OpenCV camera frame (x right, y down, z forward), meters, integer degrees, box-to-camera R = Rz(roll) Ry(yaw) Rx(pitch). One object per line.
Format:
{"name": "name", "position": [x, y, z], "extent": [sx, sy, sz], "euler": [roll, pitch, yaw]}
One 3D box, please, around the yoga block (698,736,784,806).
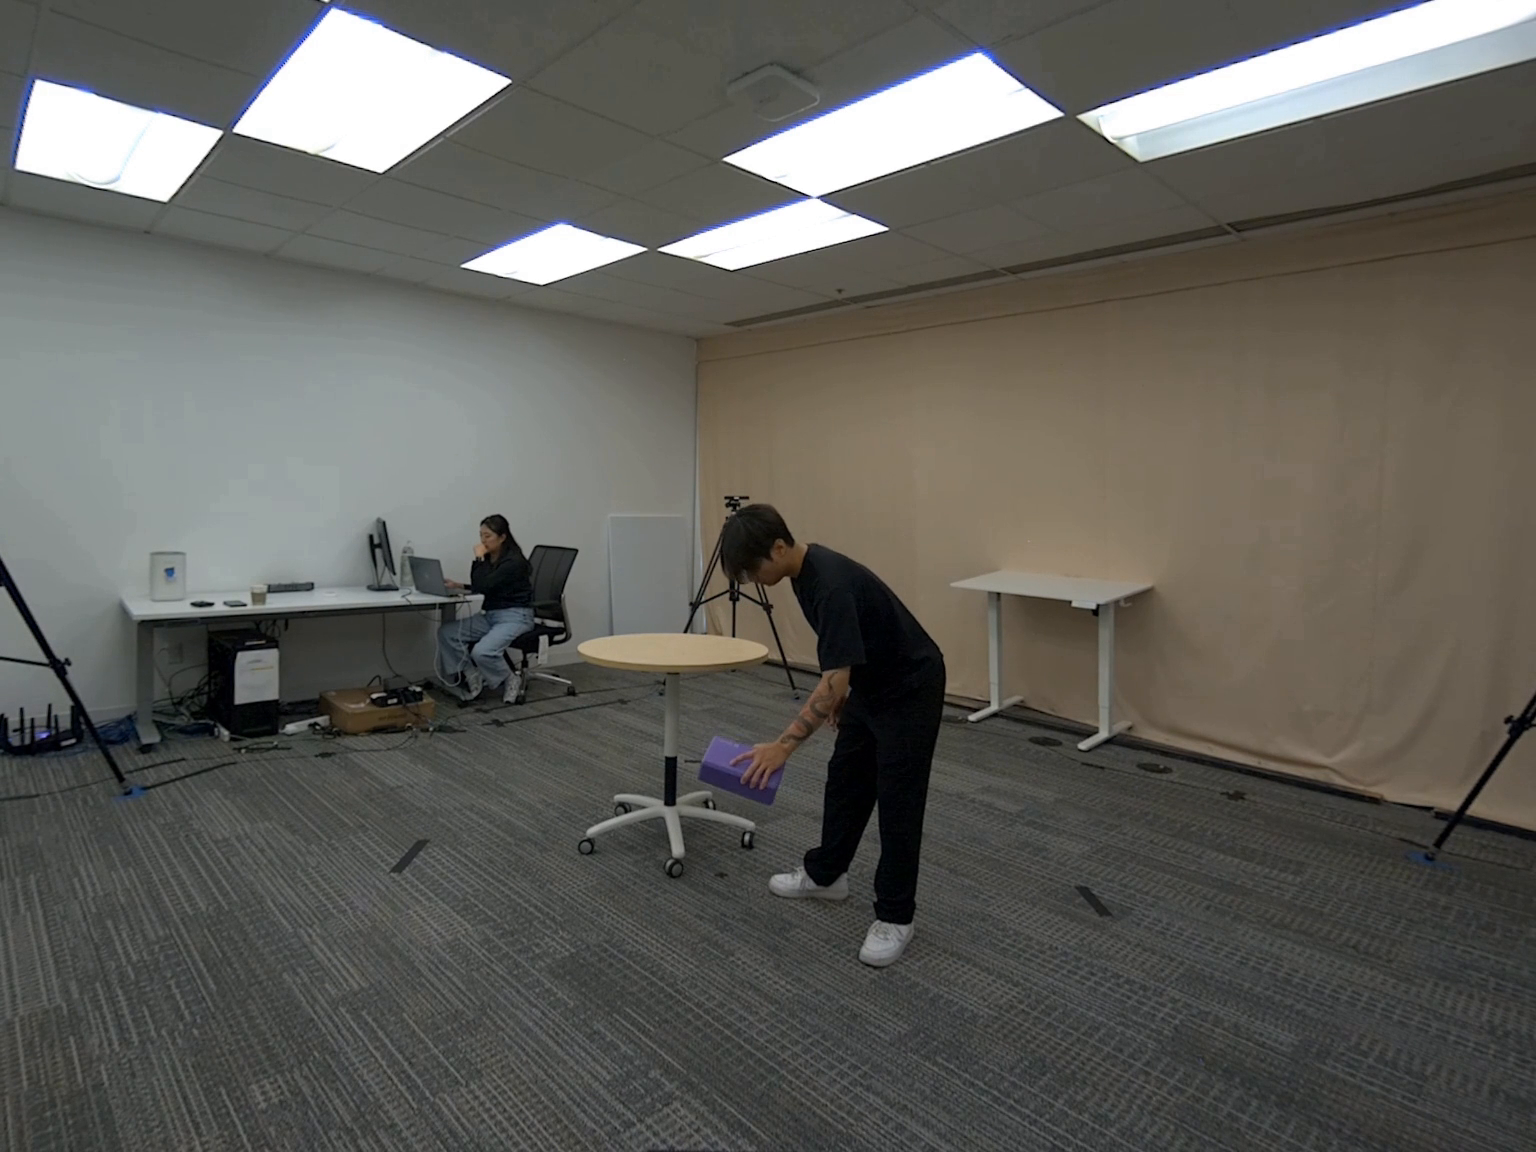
{"name": "yoga block", "position": [-0.079, 0.573, 2.454], "extent": [0.232, 0.075, 0.149], "euler": [18, 26, 13]}
